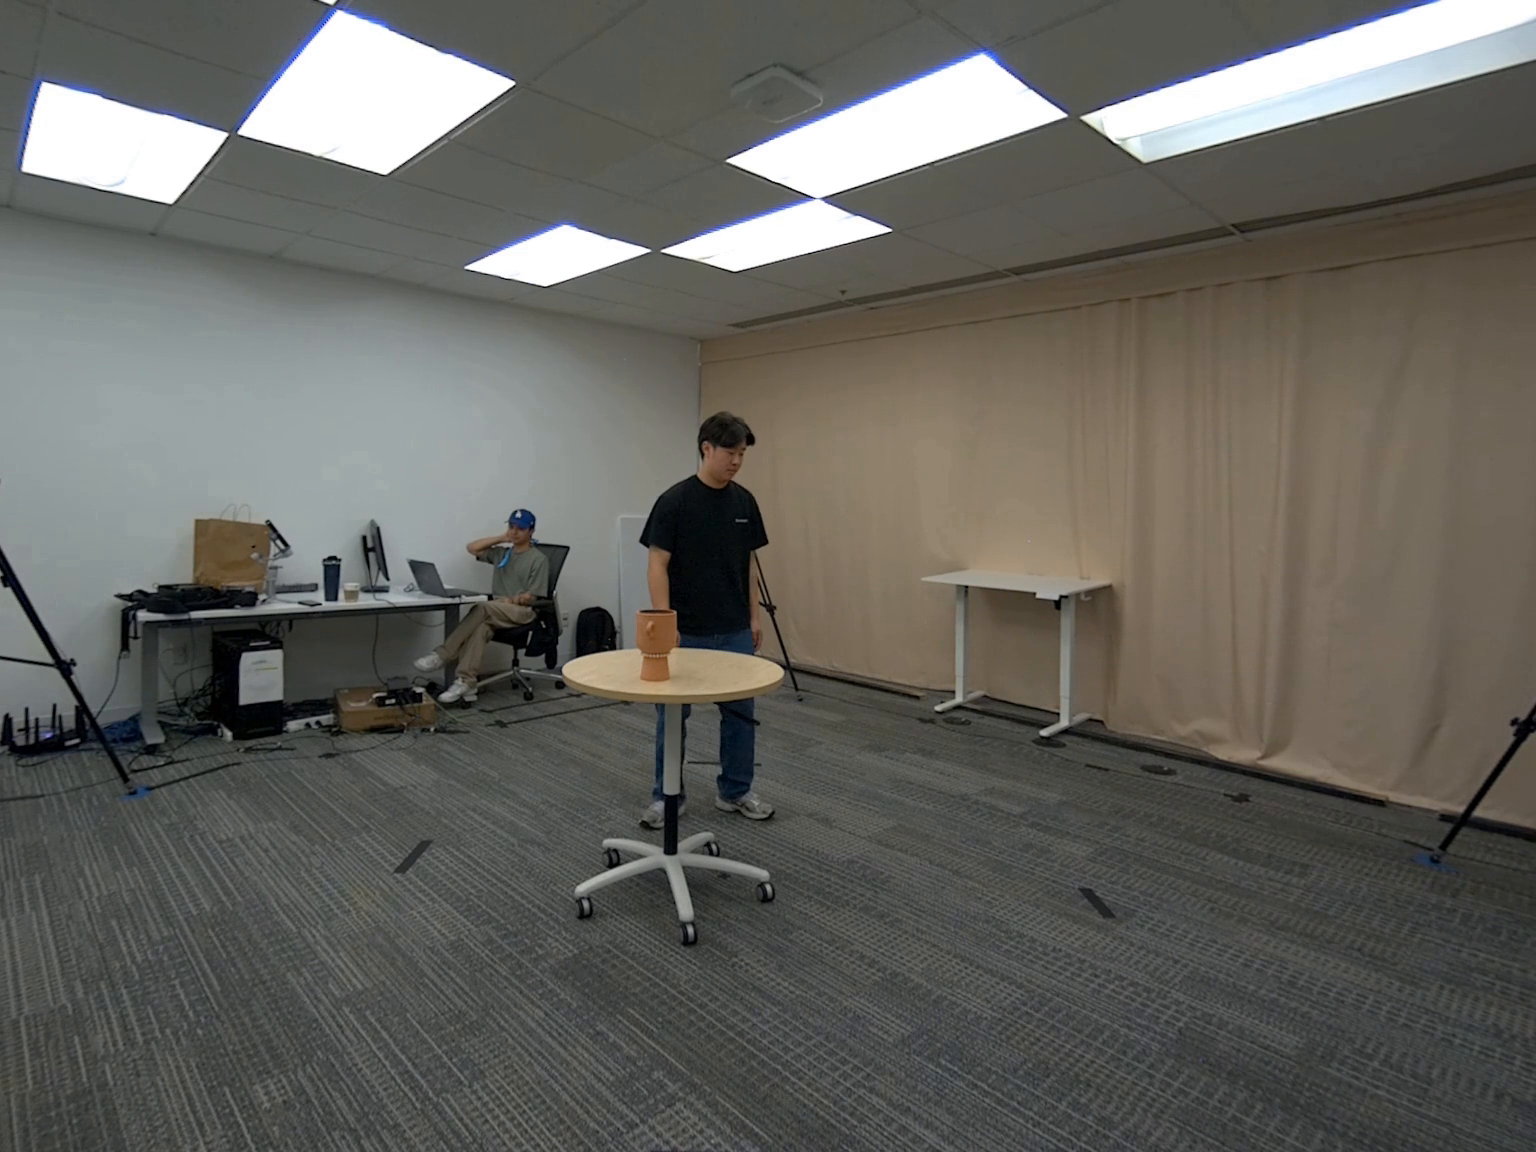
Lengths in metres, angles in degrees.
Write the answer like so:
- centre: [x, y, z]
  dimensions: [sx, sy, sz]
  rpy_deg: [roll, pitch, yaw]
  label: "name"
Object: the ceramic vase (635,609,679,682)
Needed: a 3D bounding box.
- centre: [-0.377, 0.230, 2.757]
  dimensions: [0.155, 0.219, 0.138]
  rpy_deg: [-1, 6, -42]
  label: "ceramic vase"
